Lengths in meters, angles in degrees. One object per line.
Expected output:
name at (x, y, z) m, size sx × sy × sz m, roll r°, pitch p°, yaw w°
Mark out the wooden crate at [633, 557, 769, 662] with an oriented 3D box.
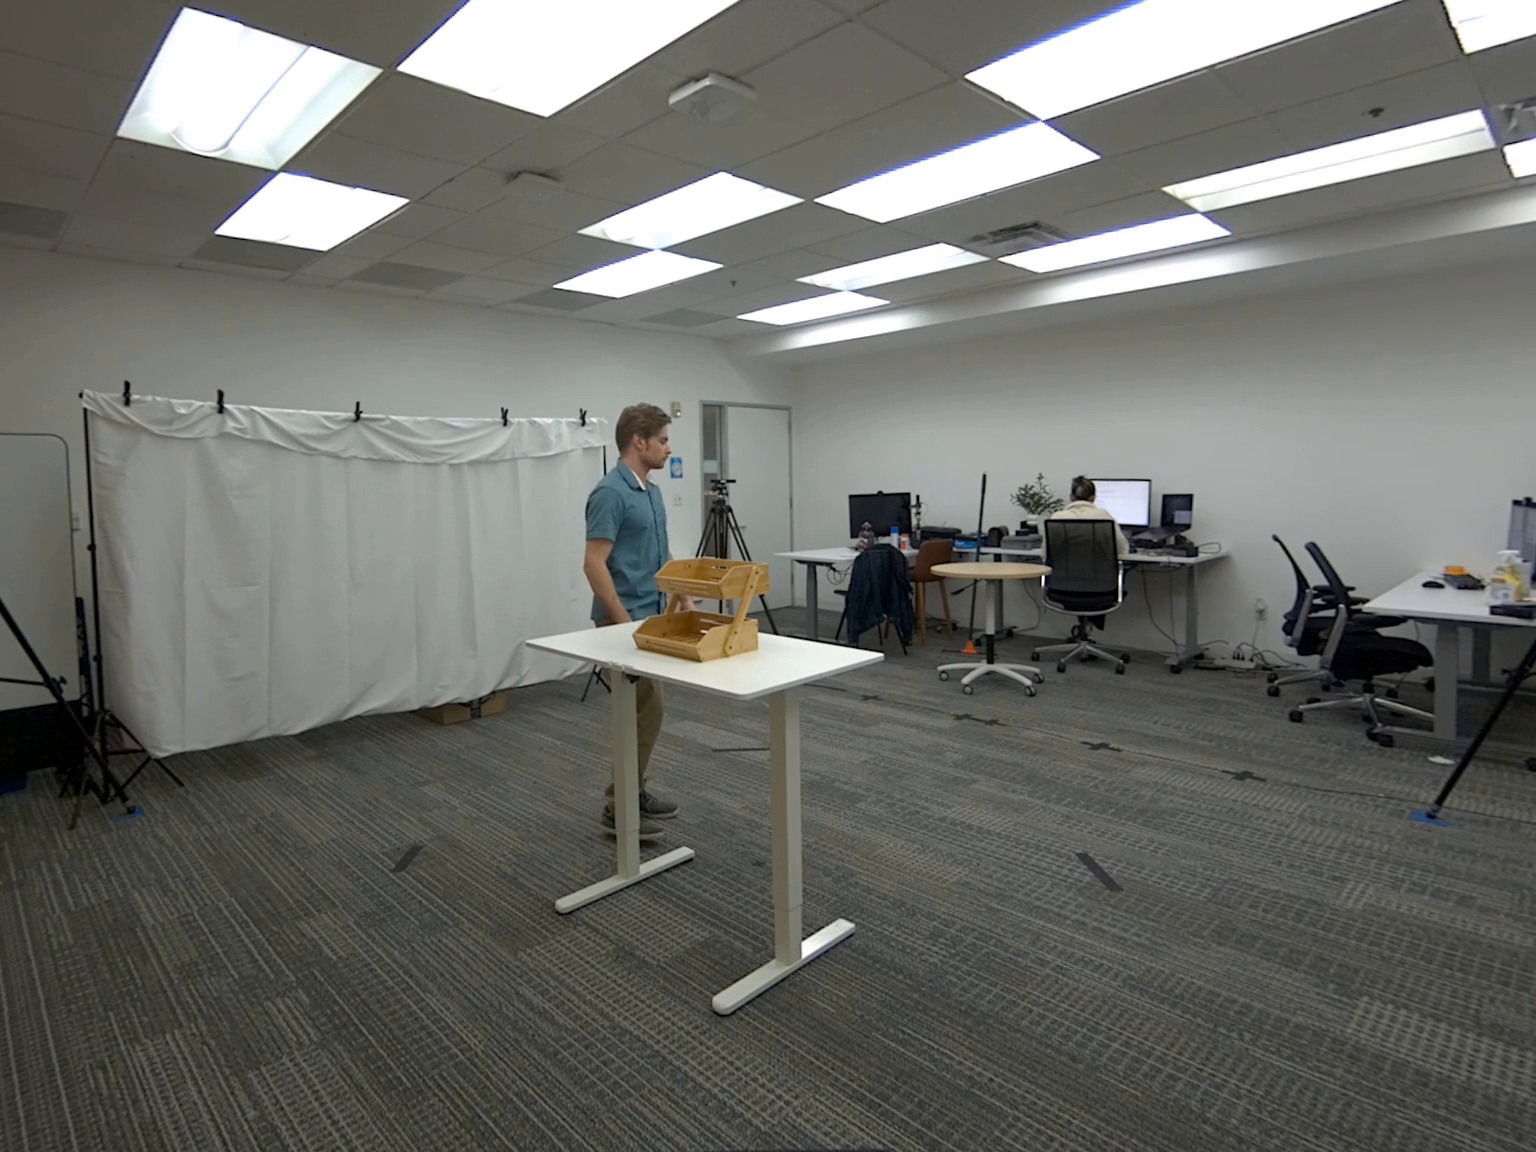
wooden crate at (-0.210, 0.093, 2.622) m, size 0.294 × 0.272 × 0.335 m, roll -6°, pitch 8°, yaw -44°
